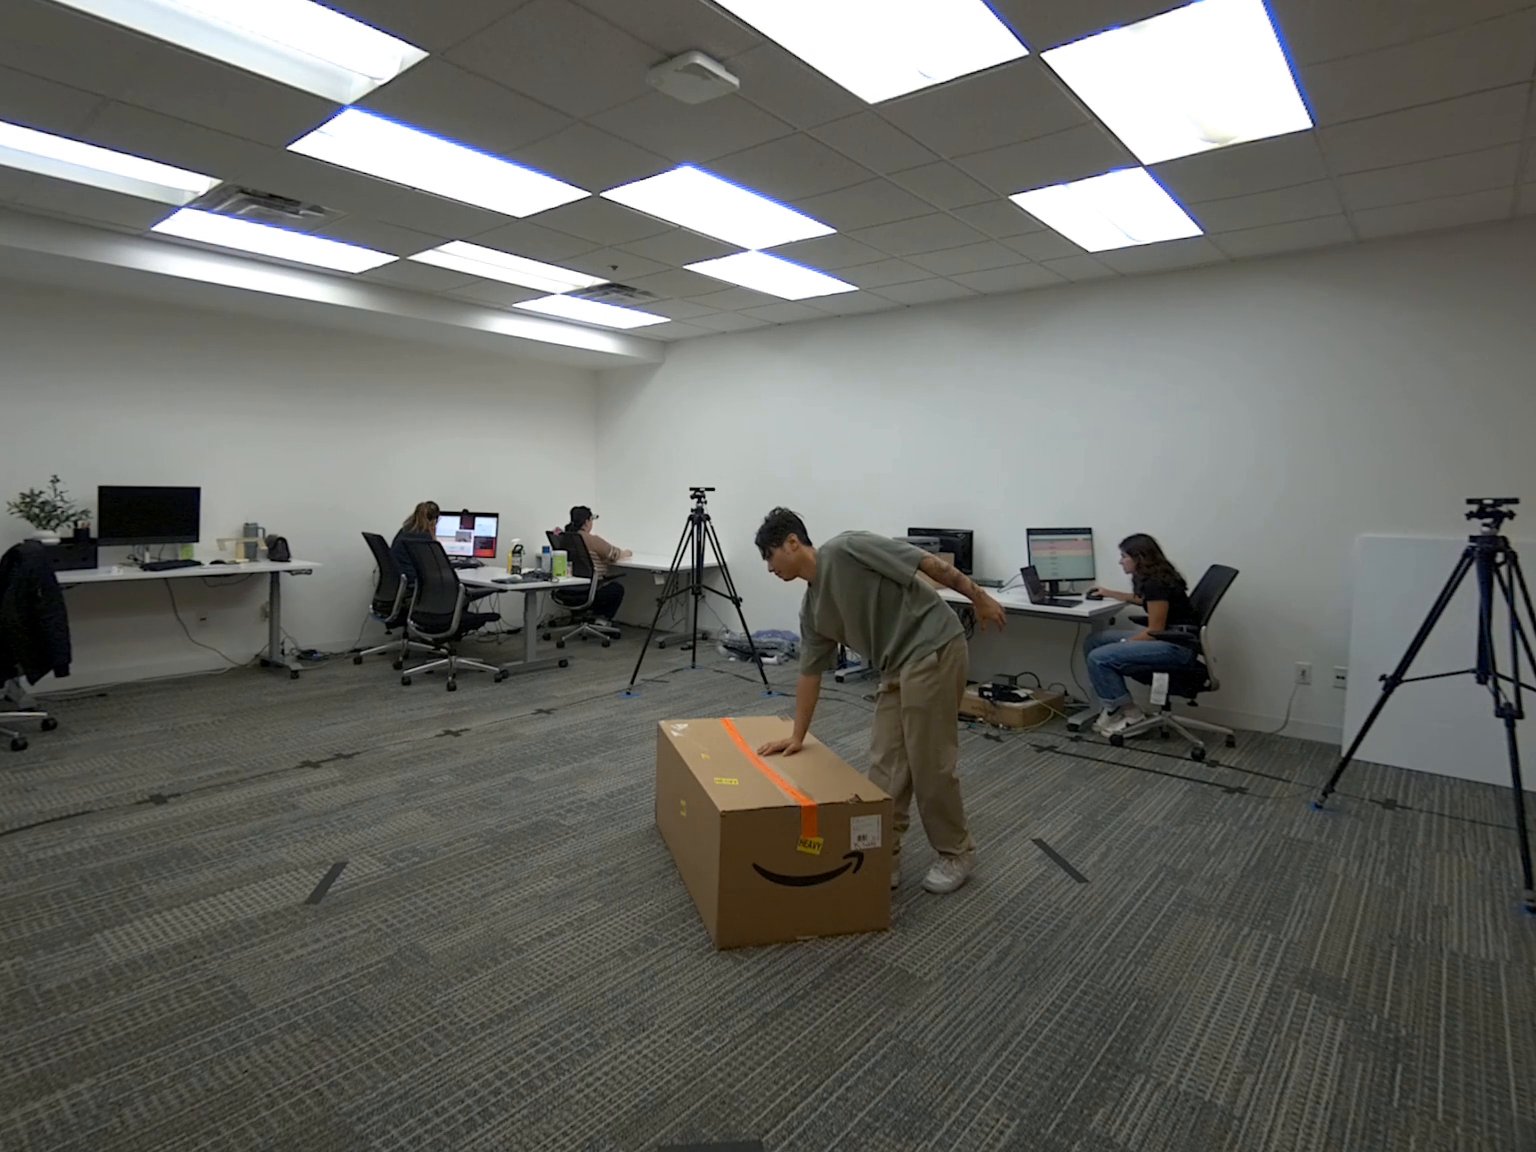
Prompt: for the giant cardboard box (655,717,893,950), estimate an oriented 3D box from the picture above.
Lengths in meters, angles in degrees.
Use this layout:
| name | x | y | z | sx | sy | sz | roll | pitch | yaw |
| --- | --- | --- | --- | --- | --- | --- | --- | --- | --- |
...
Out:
| name | x | y | z | sx | sy | sz | roll | pitch | yaw |
| --- | --- | --- | --- | --- | --- | --- | --- | --- | --- |
| giant cardboard box | -0.045 | 0.857 | 3.104 | 0.568 | 0.424 | 1.047 | 0 | 5 | -17 |
